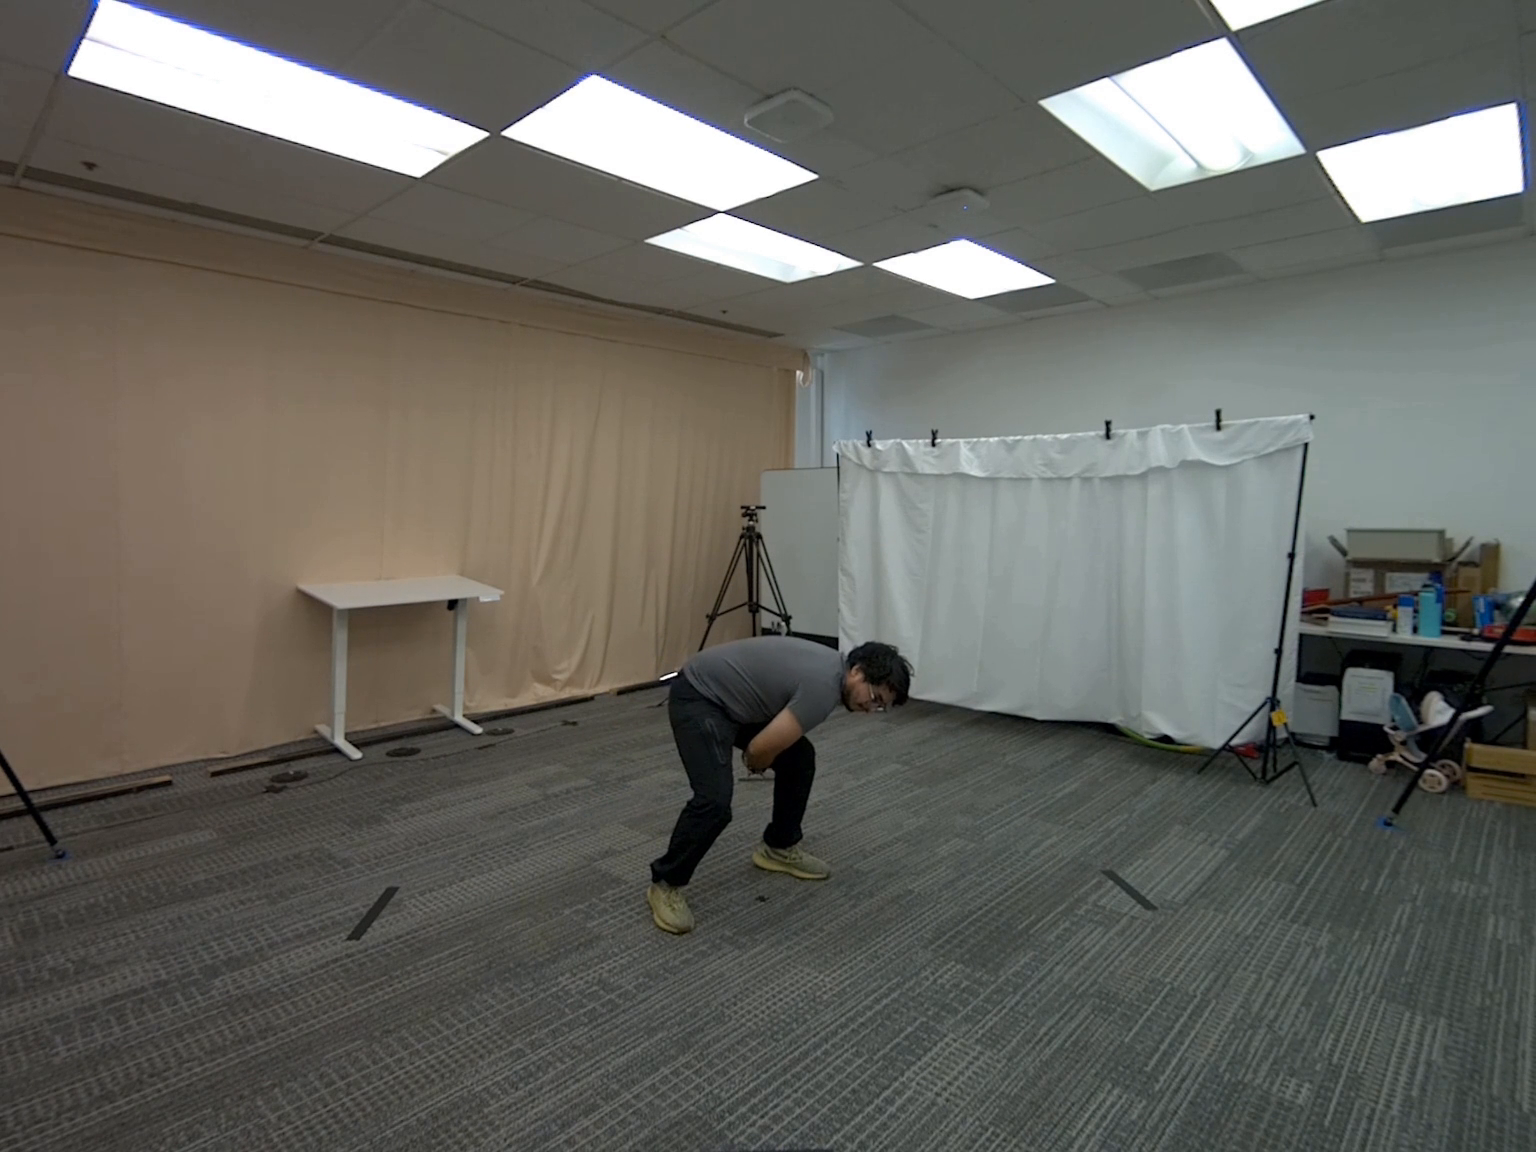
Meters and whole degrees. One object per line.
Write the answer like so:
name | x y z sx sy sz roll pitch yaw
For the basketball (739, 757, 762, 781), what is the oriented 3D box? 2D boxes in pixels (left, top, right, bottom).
basketball | 0.006 0.643 3.344 0.236 0.235 0.237 0 4 -2
